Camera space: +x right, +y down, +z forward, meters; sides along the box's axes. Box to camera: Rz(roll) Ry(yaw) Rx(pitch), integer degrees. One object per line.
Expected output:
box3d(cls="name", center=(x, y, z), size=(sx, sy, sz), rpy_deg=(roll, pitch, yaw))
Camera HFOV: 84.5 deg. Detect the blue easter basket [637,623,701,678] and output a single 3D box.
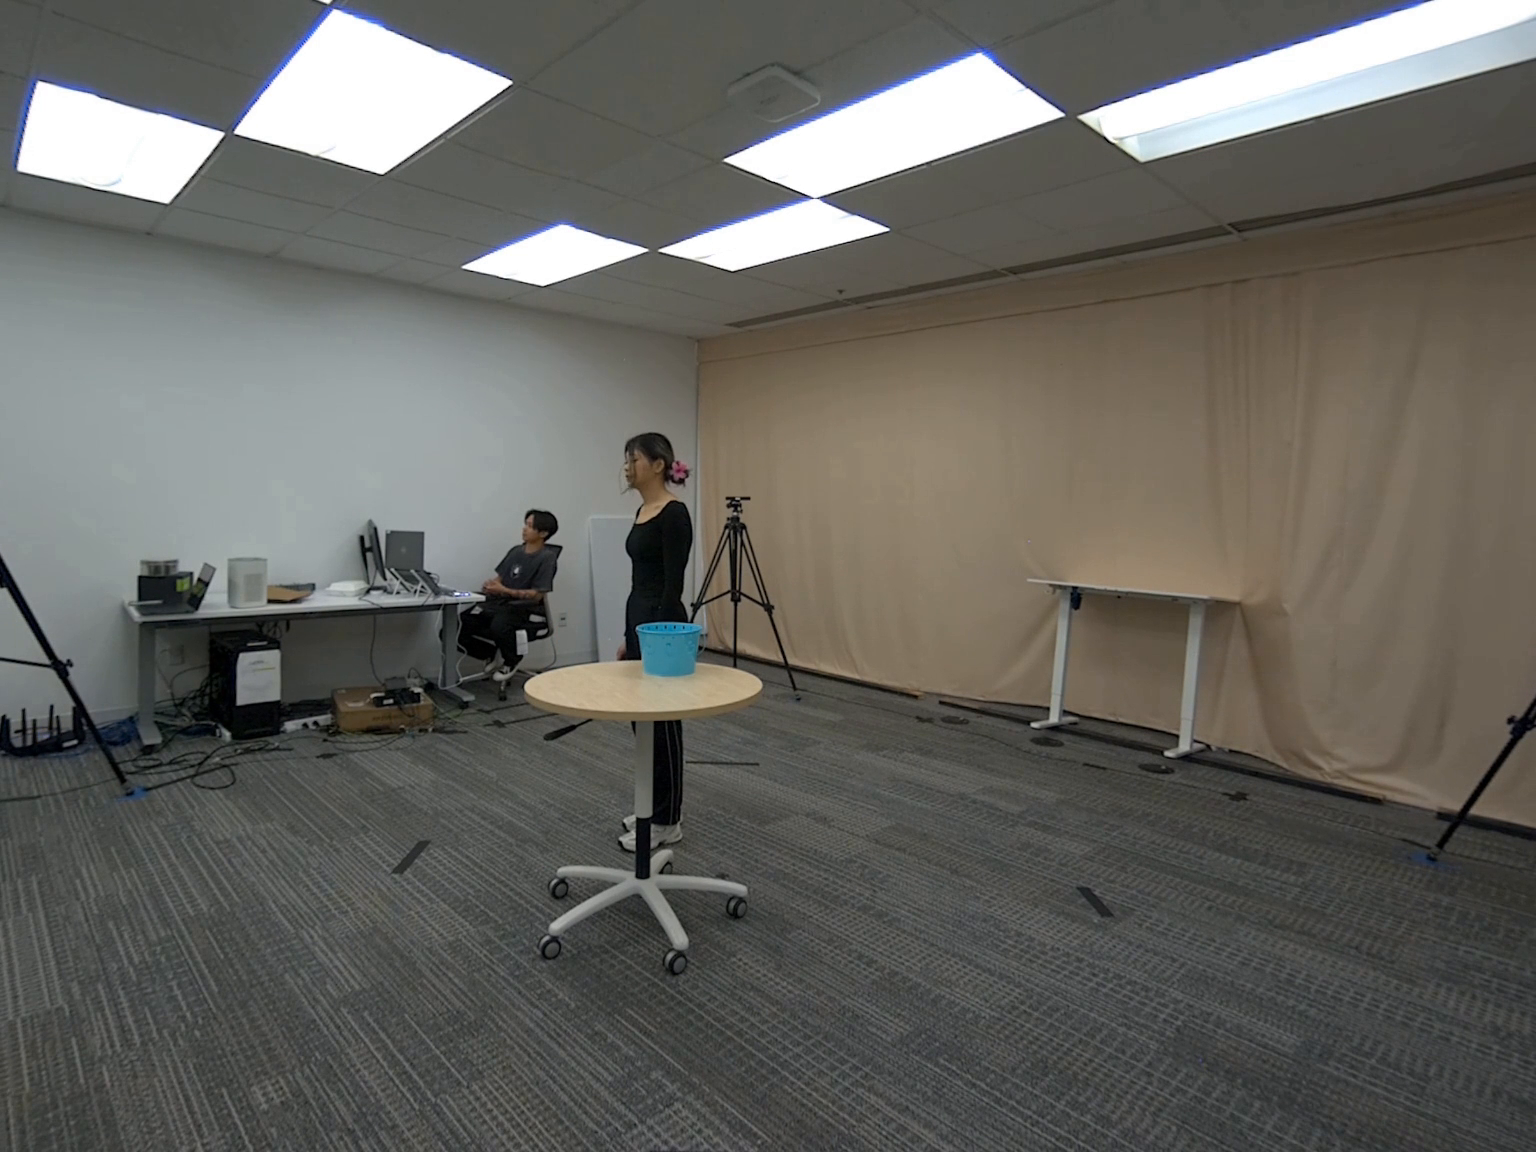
box3d(cls="blue easter basket", center=(-0.351, 0.261, 2.928), size=(0.243, 0.155, 0.245), rpy_deg=(0, 6, -1))
